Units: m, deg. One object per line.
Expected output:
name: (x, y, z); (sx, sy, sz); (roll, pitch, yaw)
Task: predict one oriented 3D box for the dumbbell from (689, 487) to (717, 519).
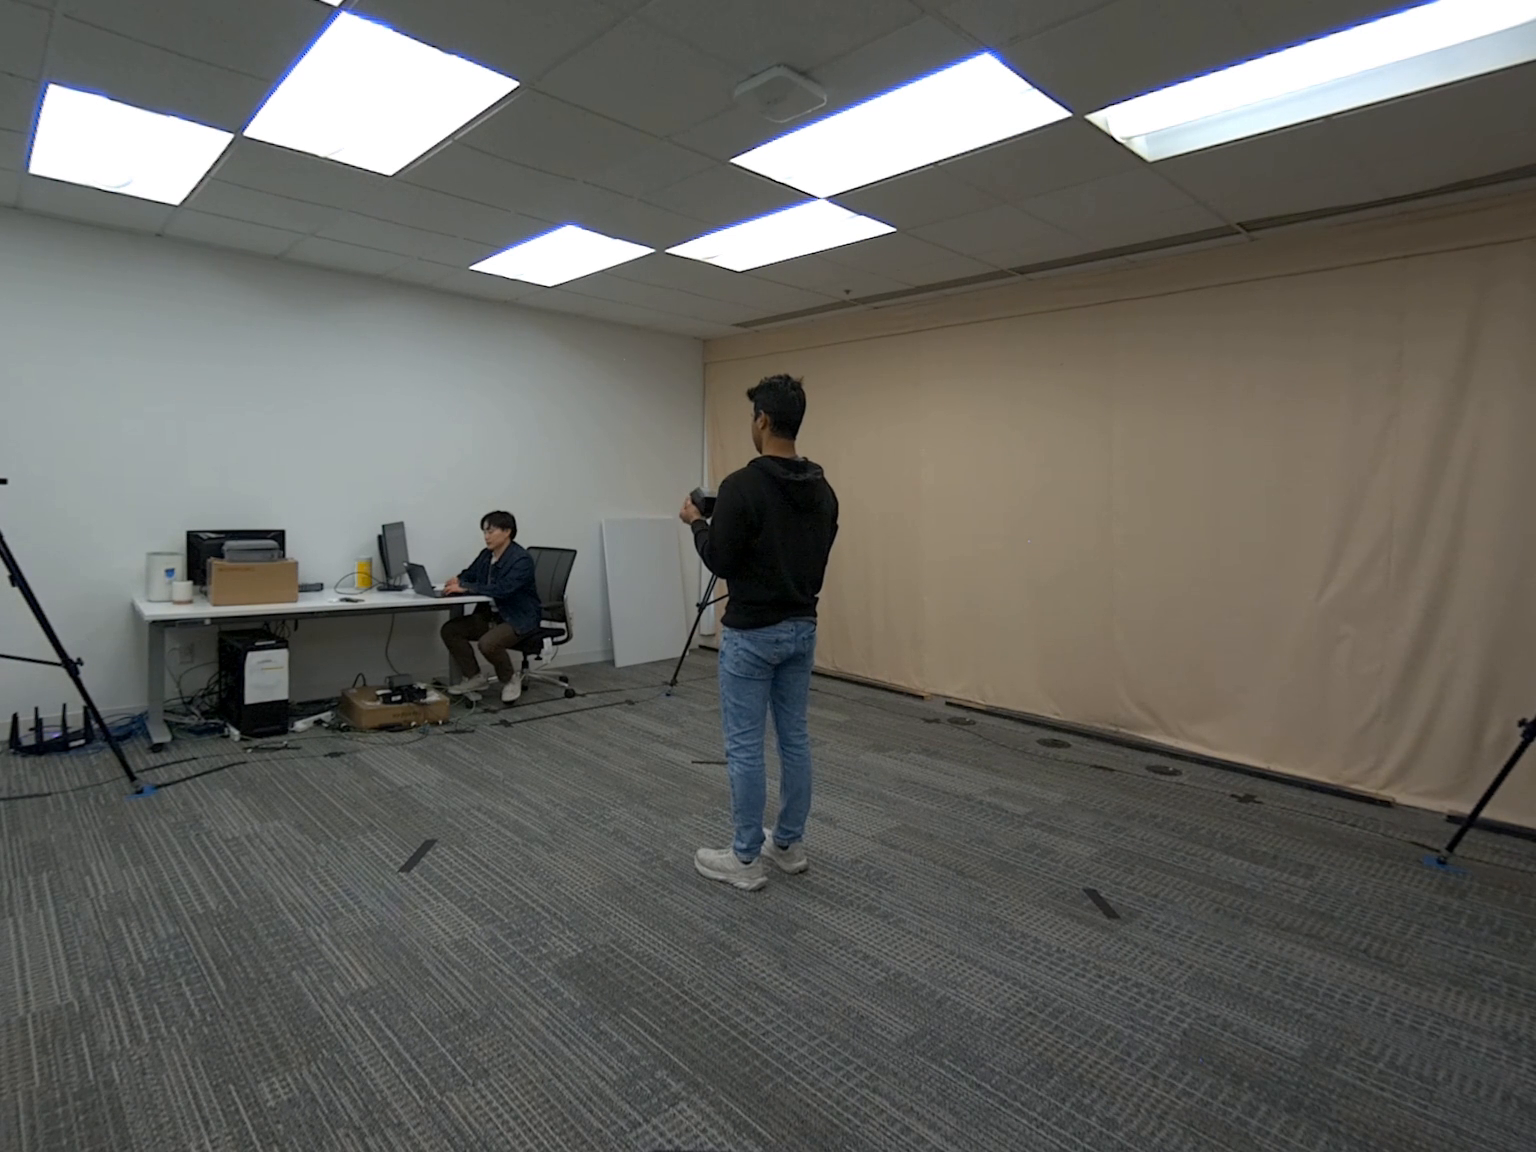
dumbbell: (-0.154, -0.265, 3.241); (0.287, 0.110, 0.124); (-1, -17, -40)
